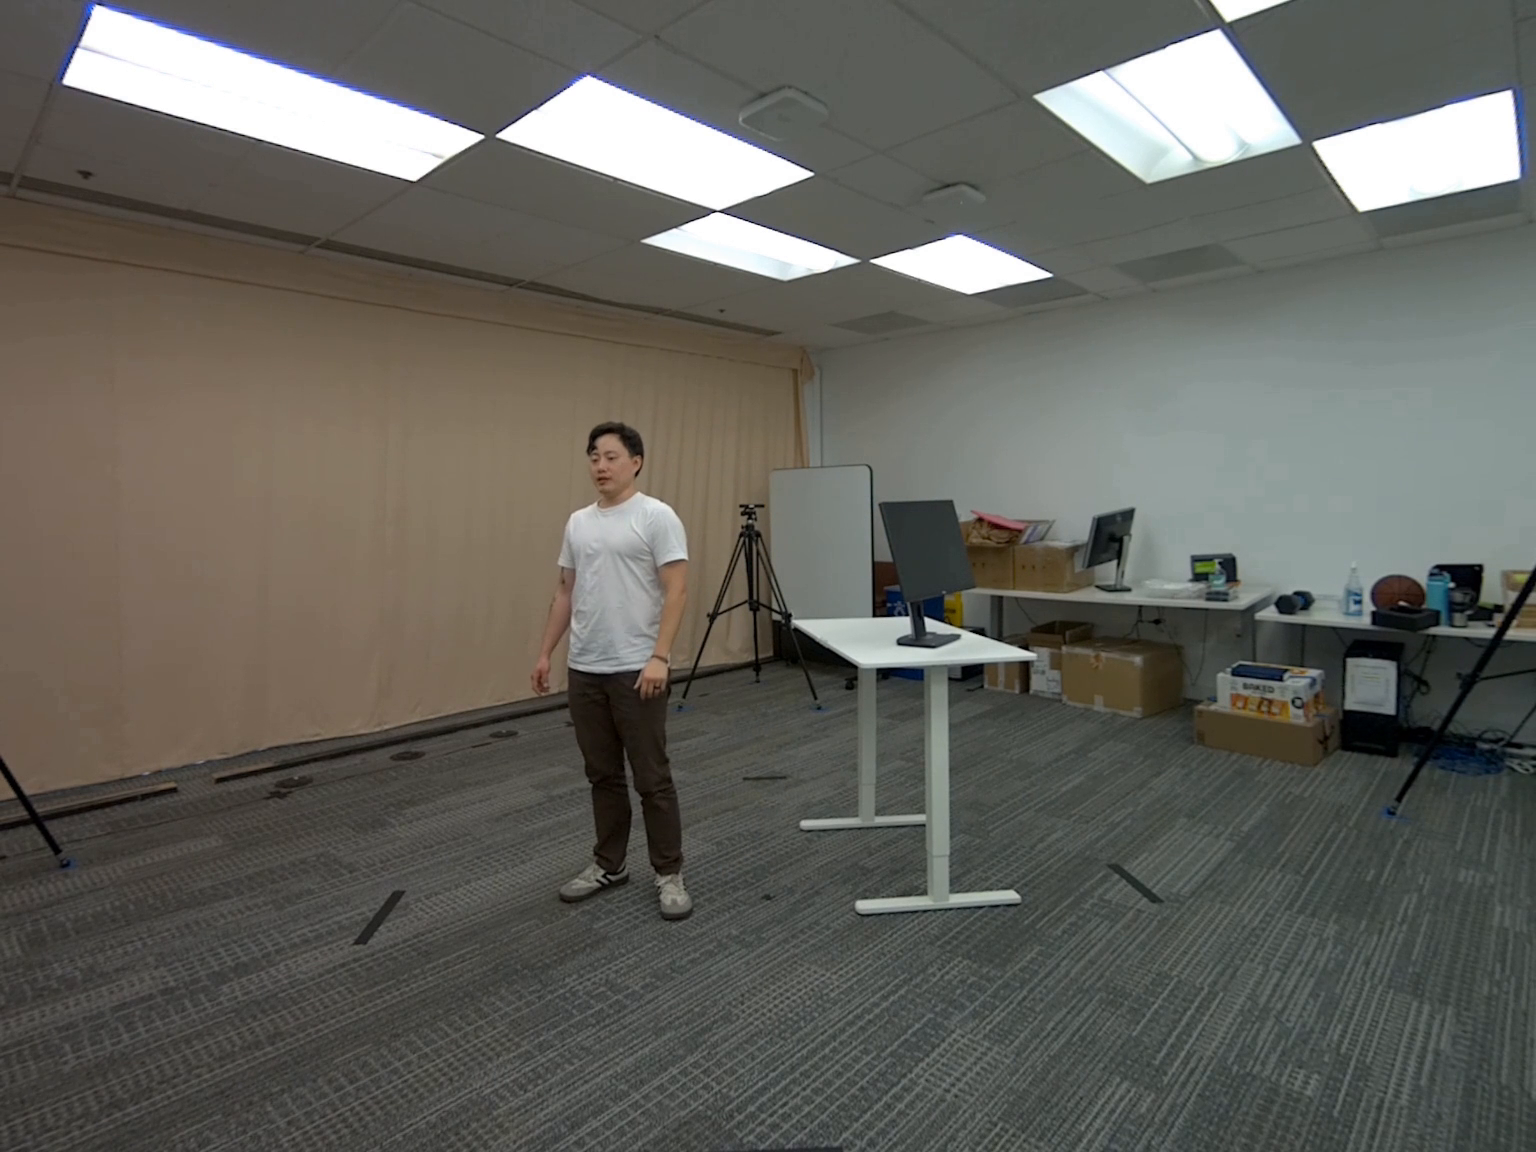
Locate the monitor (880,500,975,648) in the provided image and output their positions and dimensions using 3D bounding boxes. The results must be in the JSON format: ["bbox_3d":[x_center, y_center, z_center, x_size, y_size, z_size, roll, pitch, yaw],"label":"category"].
[{"bbox_3d":[0.582,-0.011,3.075,0.193,0.522,0.523,-2,3,37],"label":"monitor"}]
